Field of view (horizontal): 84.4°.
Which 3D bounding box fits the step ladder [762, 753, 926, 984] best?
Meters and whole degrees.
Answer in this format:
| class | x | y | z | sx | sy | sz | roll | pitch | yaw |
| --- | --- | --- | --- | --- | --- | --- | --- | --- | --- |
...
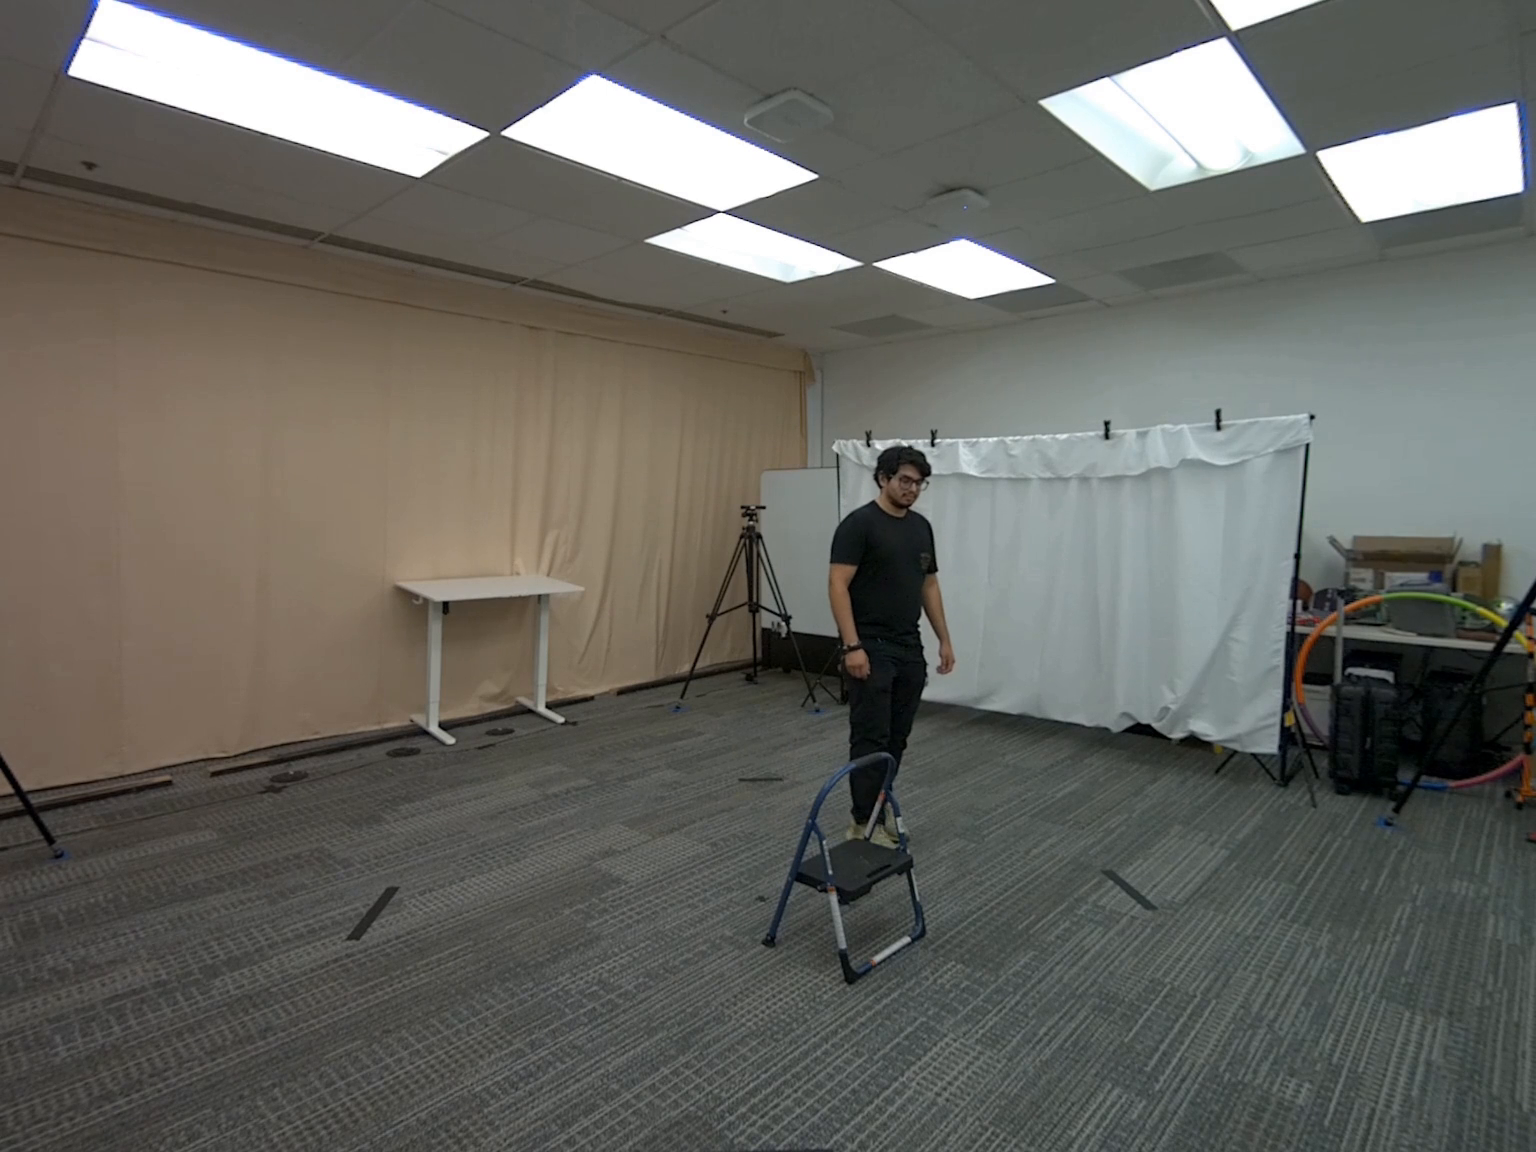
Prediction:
| class | x | y | z | sx | sy | sz | roll | pitch | yaw |
| --- | --- | --- | --- | --- | --- | --- | --- | --- | --- |
| step ladder | 0.251 | 0.862 | 2.688 | 0.361 | 0.605 | 0.417 | 3 | 5 | 43 |
